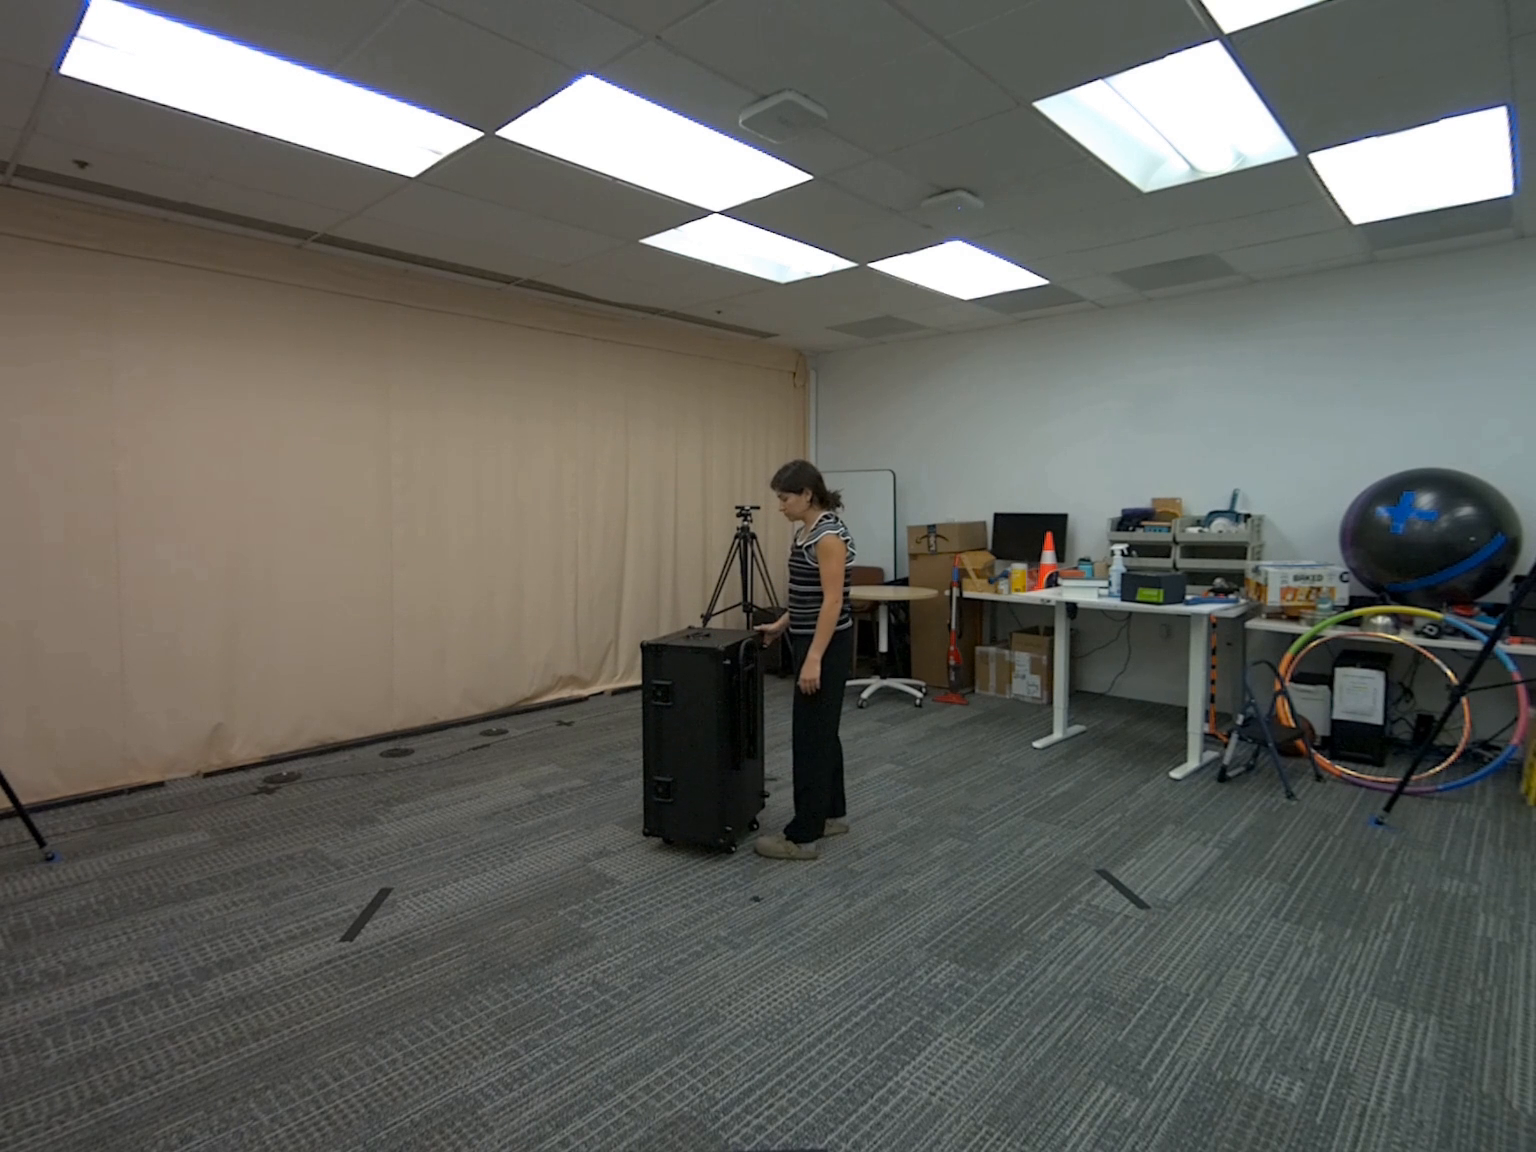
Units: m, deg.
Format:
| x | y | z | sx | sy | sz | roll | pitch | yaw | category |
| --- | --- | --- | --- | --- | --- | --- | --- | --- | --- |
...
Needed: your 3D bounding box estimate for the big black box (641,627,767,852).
| x | y | z | sx | sy | sz | roll | pitch | yaw | category |
| --- | --- | --- | --- | --- | --- | --- | --- | --- | --- |
| -0.246 | 0.679 | 3.527 | 0.405 | 0.860 | 0.510 | 1 | 3 | 21 | big black box |
